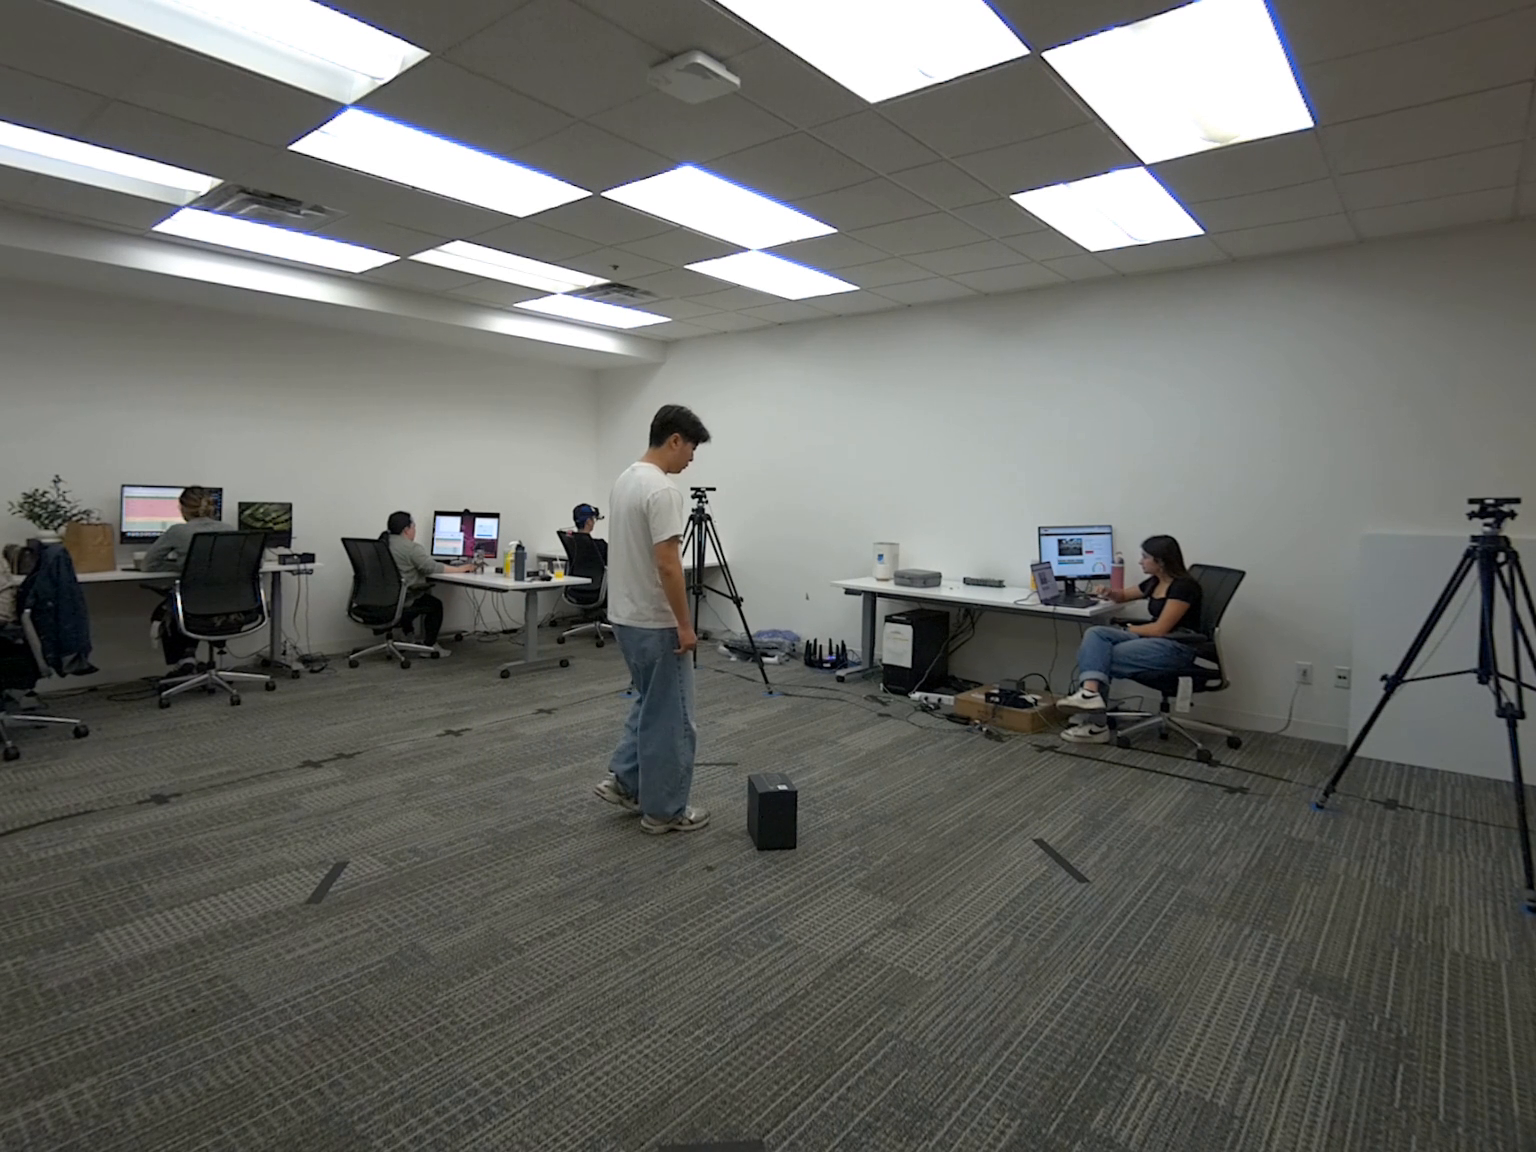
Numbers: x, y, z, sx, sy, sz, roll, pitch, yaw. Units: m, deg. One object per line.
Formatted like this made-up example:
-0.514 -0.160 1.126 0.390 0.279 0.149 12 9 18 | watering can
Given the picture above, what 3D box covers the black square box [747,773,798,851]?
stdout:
0.008 0.924 3.373 0.154 0.227 0.221 1 5 -13 | black square box
